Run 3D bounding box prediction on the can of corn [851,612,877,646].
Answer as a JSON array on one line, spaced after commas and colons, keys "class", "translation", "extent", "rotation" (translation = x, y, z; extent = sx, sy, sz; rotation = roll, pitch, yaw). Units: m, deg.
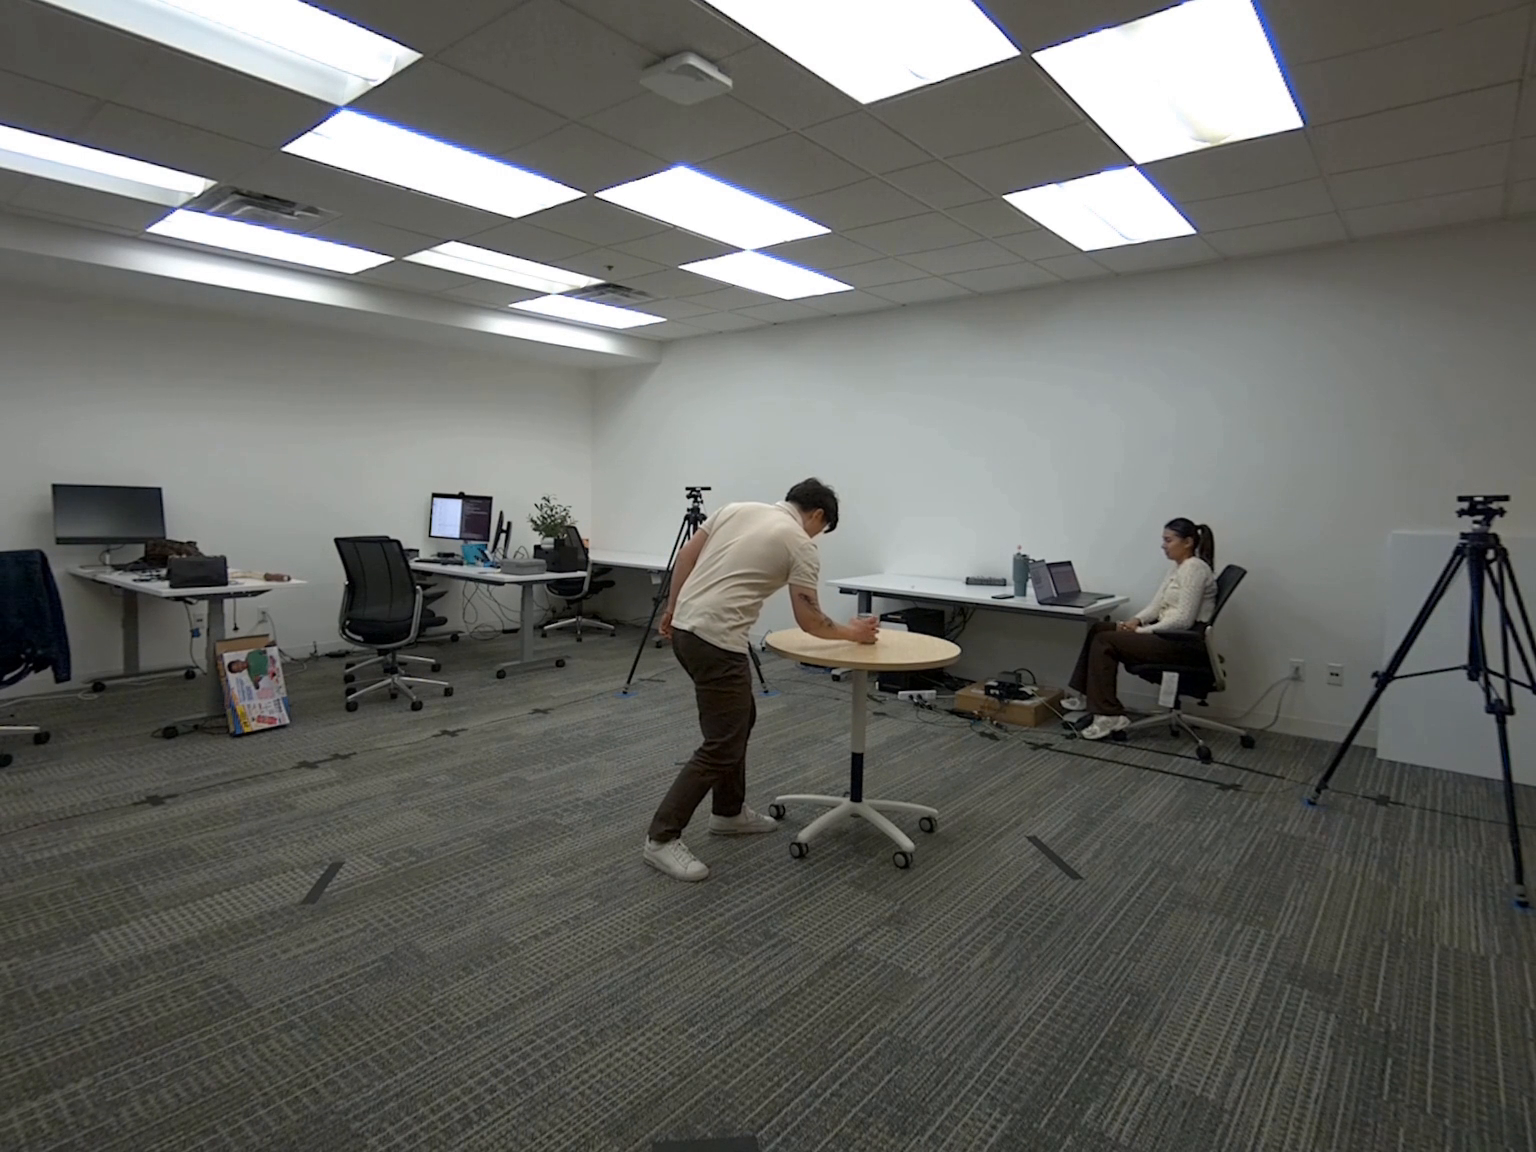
[{"class": "can of corn", "translation": [0.387, 0.212, 3.400], "extent": [0.074, 0.110, 0.074], "rotation": [-9, 5, -1]}]
